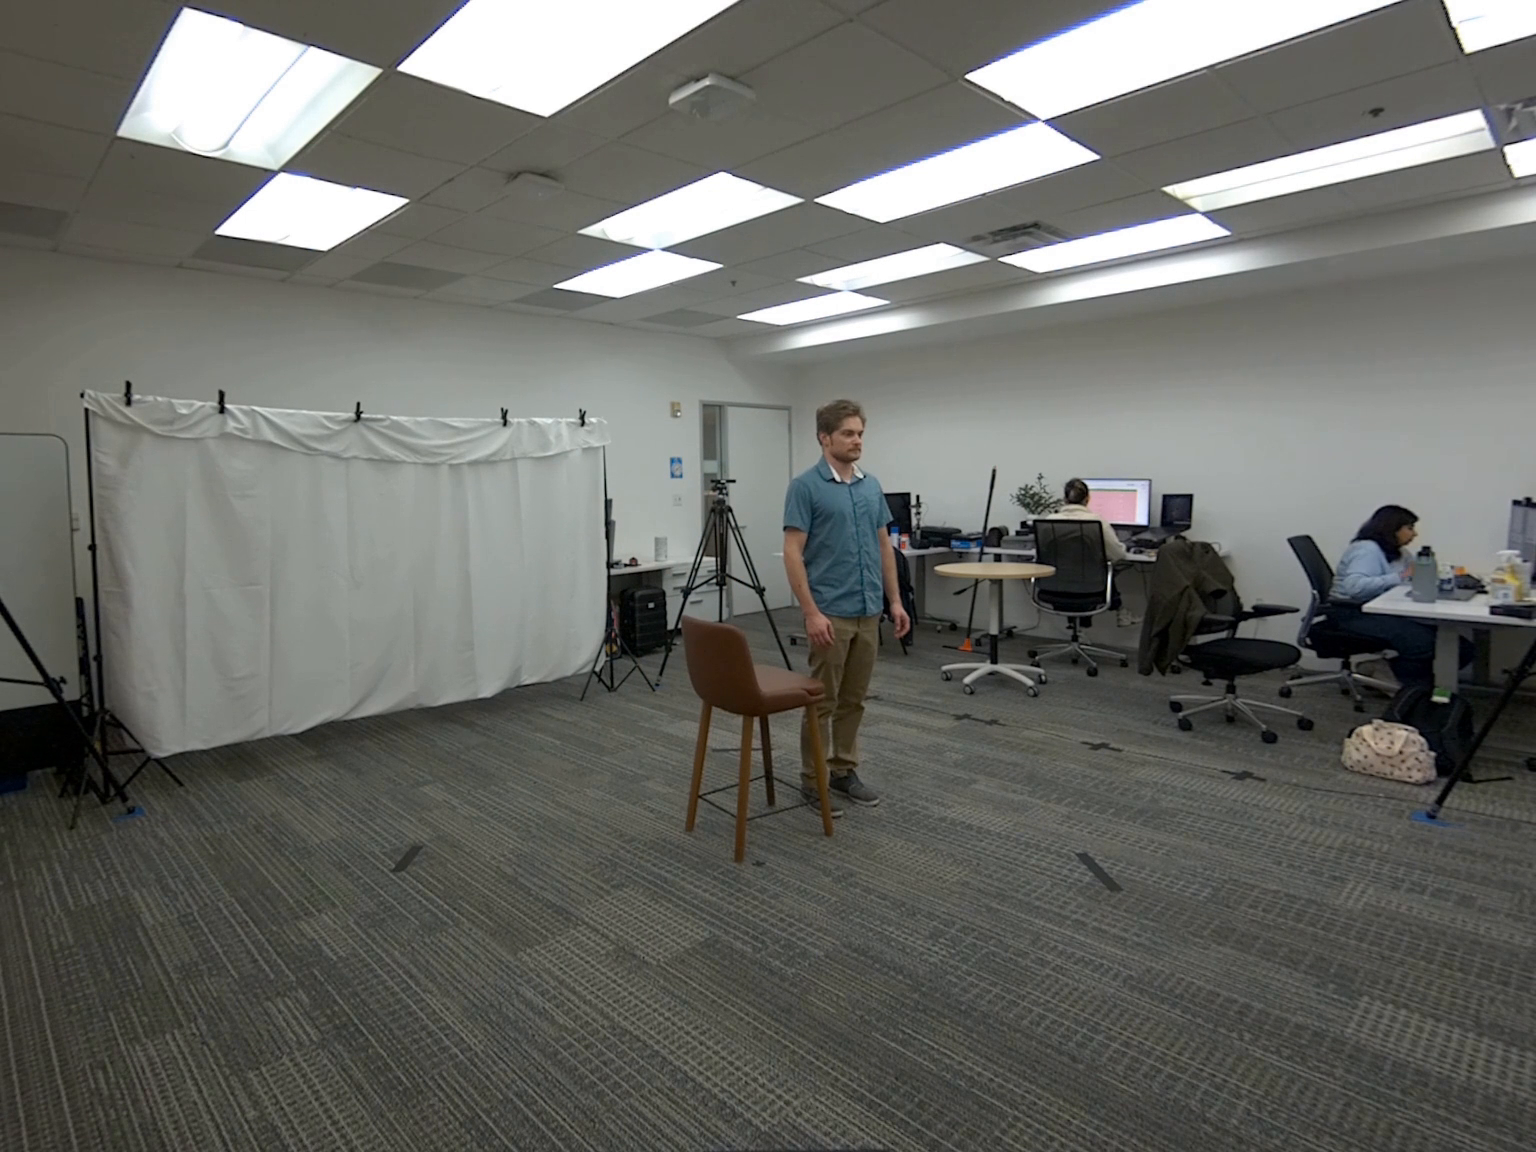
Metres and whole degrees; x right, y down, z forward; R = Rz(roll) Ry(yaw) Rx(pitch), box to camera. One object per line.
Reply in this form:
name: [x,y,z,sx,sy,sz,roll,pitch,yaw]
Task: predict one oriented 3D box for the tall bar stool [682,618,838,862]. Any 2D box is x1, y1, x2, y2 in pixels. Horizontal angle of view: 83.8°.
tall bar stool: [-0.053,0.583,3.358,0.456,0.885,0.470,-6,6,-35]
